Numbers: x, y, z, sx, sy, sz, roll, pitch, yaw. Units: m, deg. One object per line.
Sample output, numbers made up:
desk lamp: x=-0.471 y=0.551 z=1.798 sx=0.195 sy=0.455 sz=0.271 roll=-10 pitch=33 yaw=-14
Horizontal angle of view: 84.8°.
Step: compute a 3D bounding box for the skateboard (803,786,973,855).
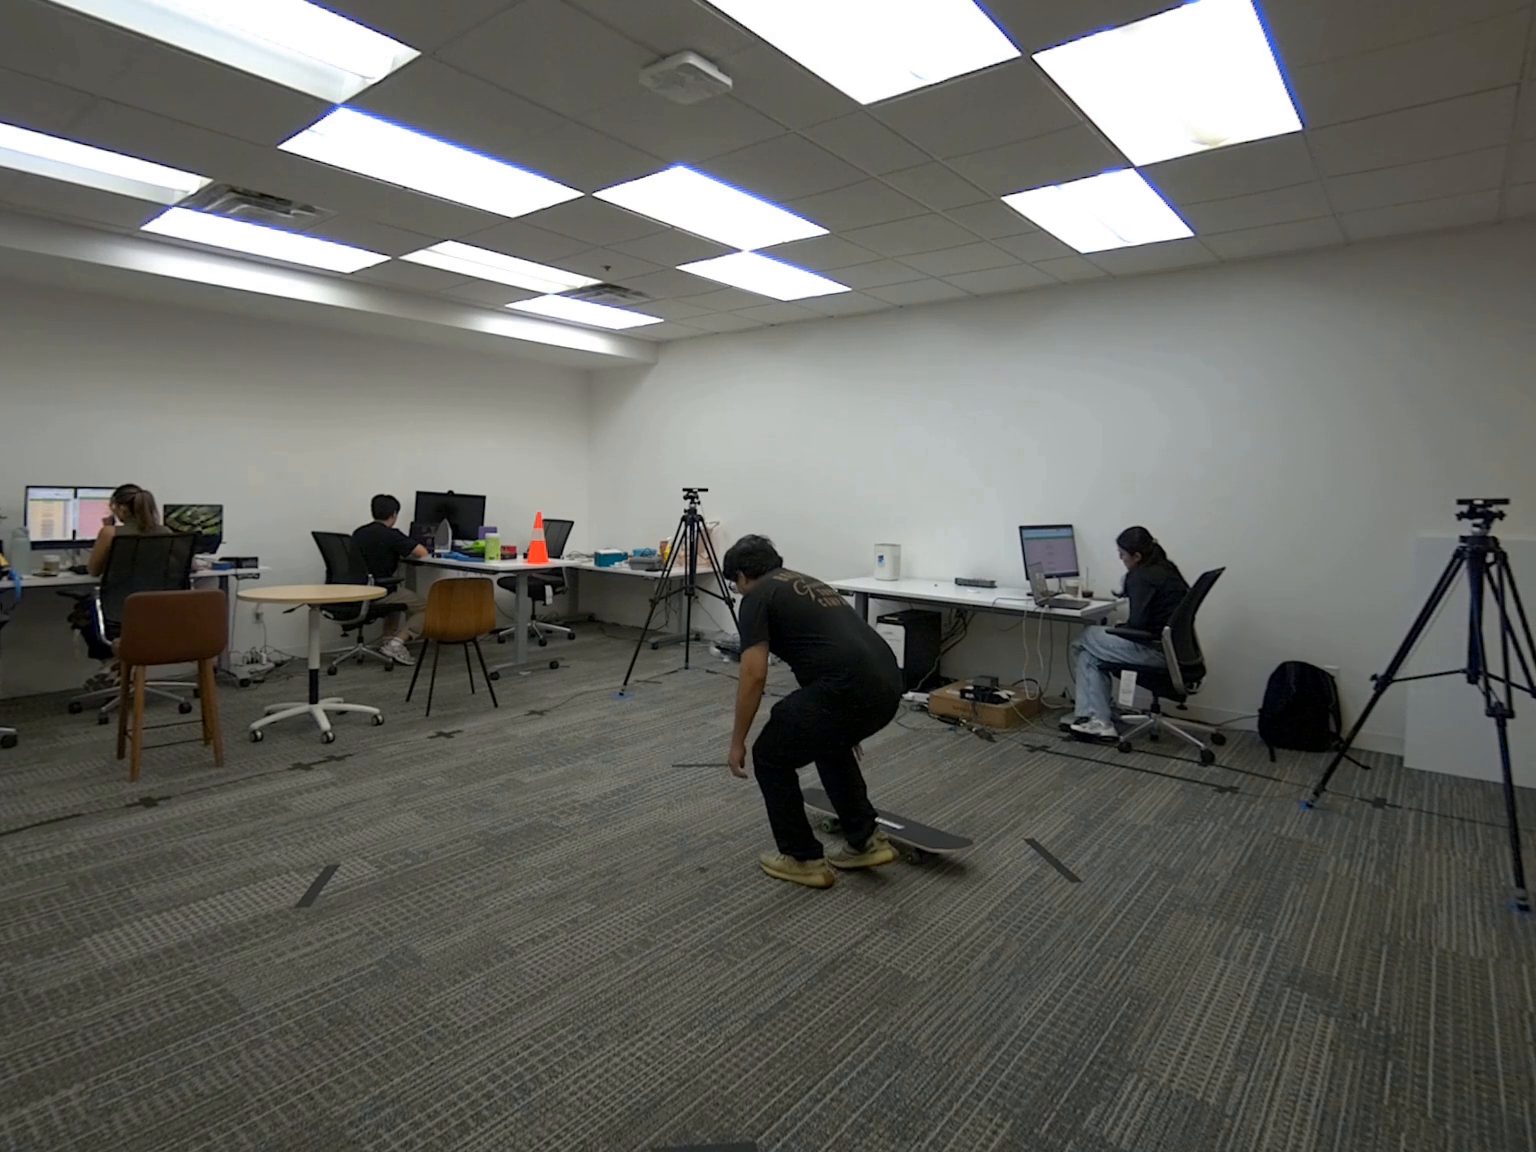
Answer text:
skateboard: x=0.441 y=1.001 z=3.390 sx=0.813 sy=0.110 sz=0.187 roll=7 pitch=7 yaw=43
